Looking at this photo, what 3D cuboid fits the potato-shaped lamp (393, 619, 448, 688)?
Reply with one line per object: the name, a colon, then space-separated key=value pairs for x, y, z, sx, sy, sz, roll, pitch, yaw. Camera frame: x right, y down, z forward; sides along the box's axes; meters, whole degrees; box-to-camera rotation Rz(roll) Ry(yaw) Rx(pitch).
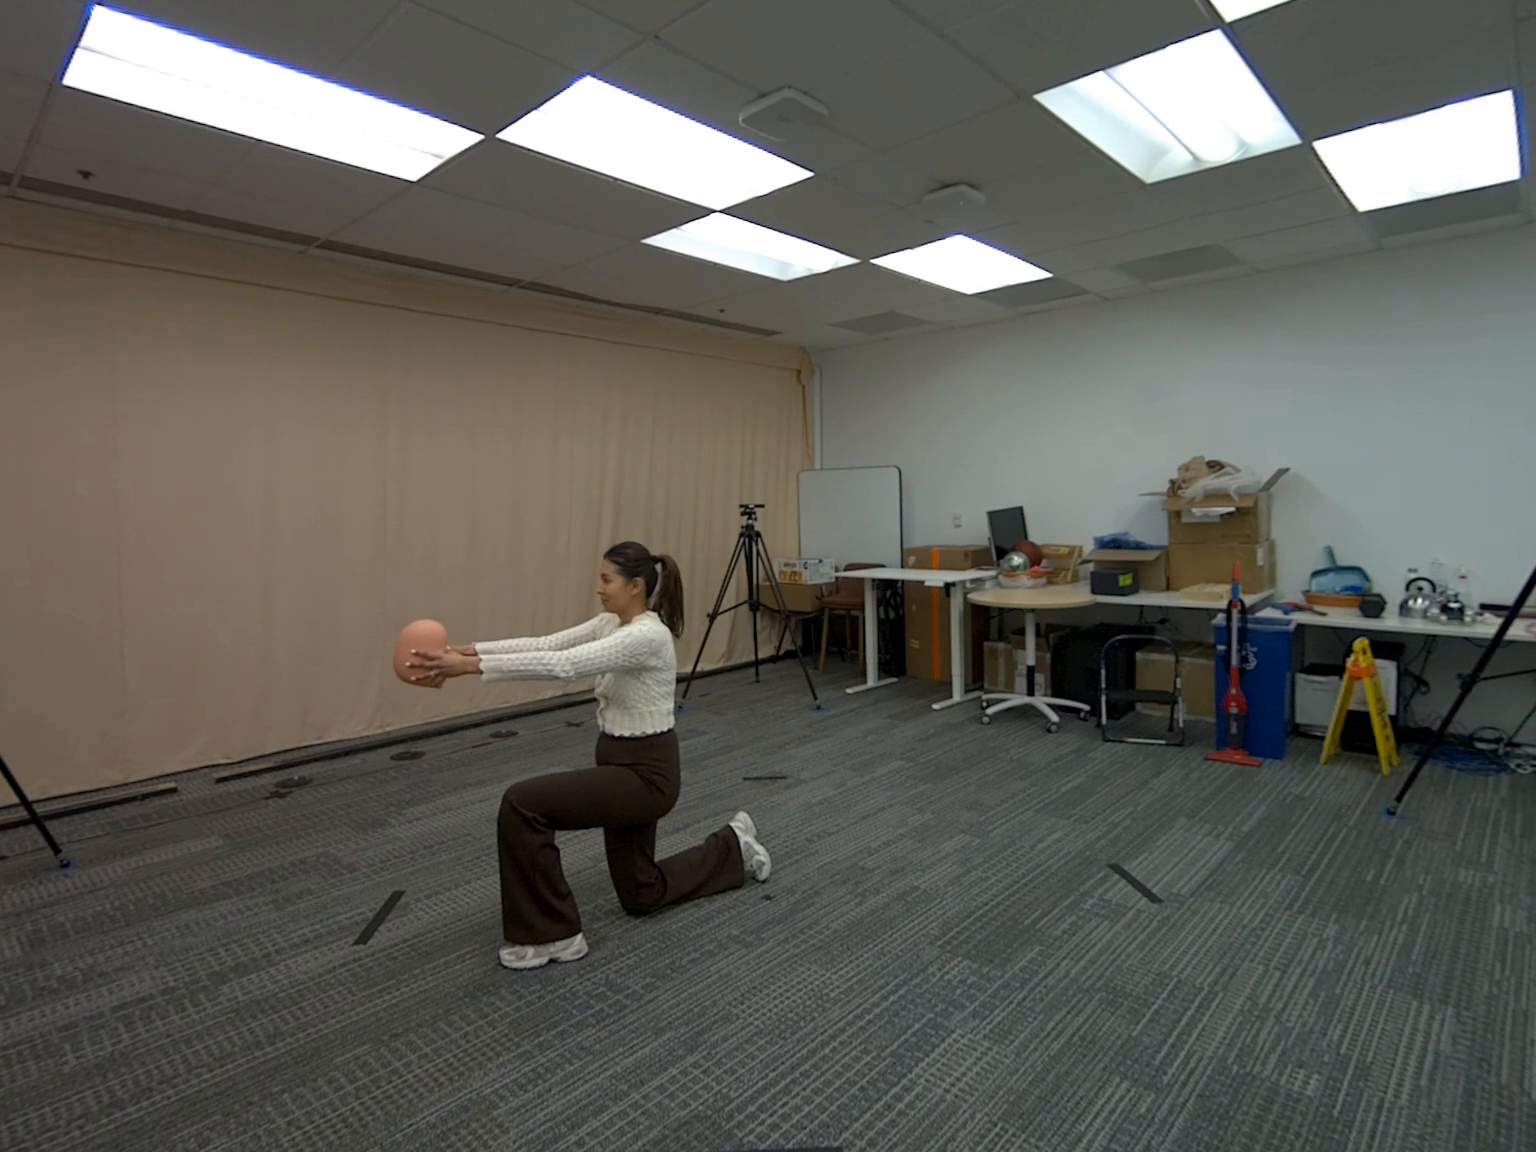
potato-shaped lamp: x=-1.040 y=0.234 z=2.564 sx=0.168 sy=0.198 sz=0.168 roll=14 pitch=3 yaw=-16
